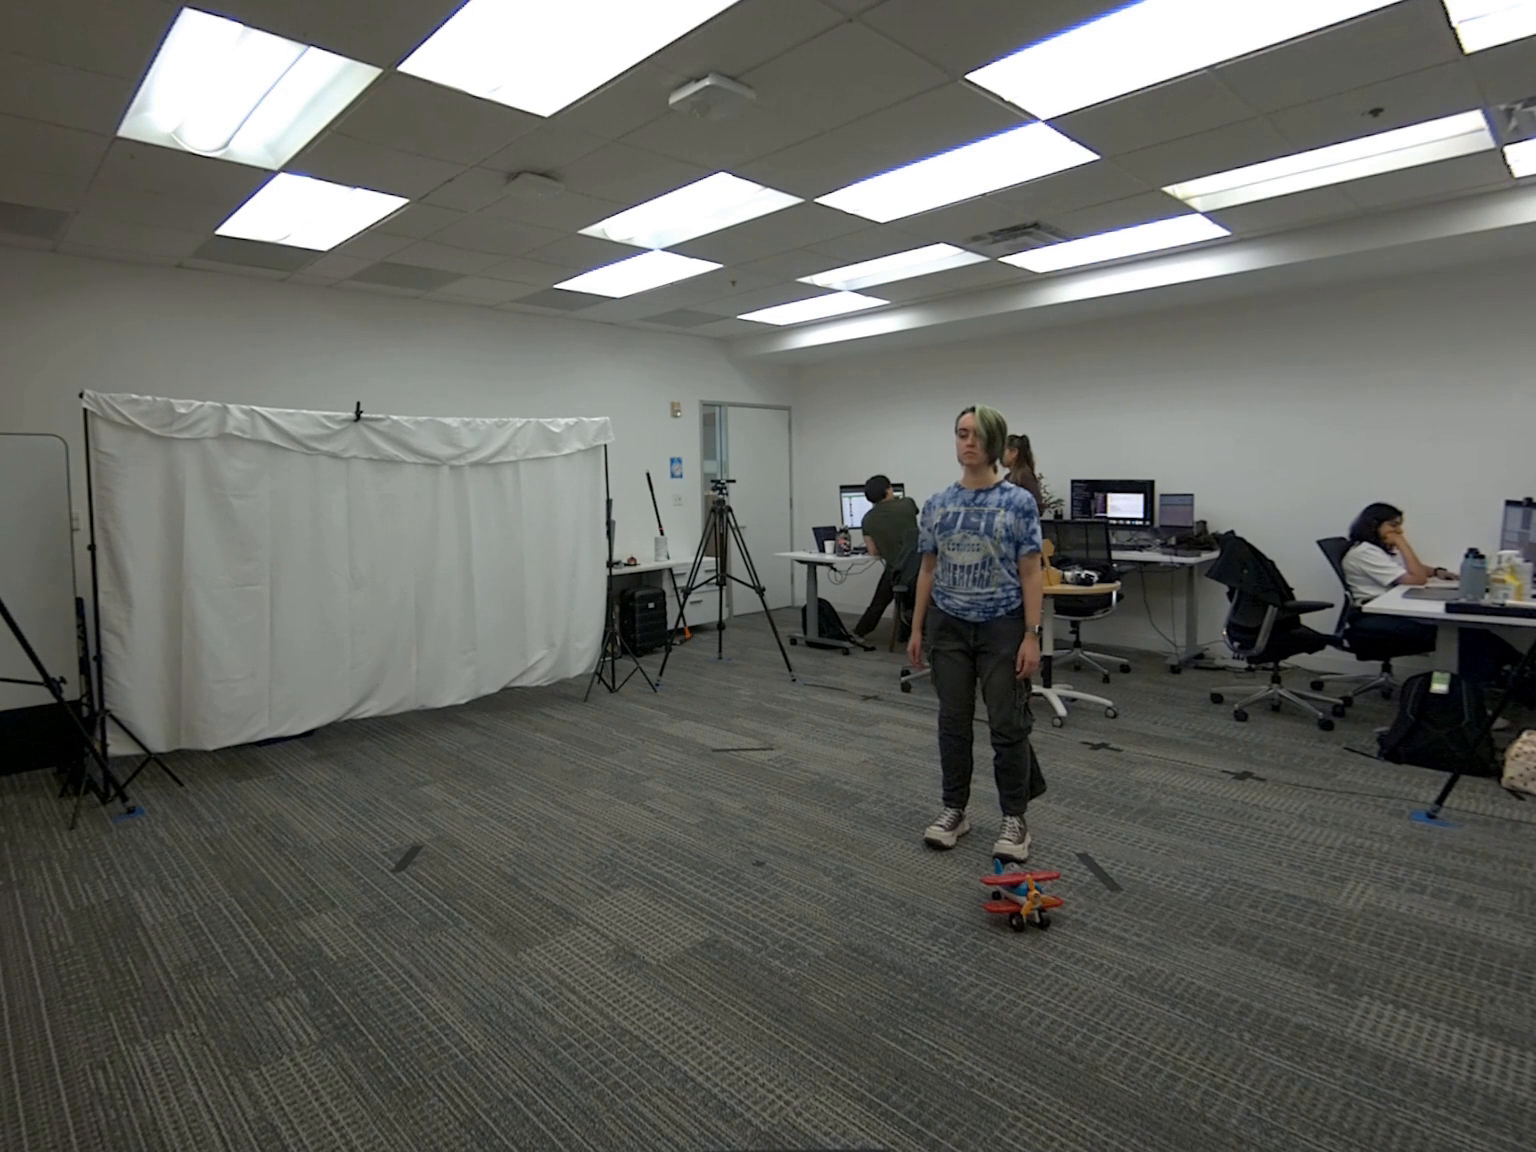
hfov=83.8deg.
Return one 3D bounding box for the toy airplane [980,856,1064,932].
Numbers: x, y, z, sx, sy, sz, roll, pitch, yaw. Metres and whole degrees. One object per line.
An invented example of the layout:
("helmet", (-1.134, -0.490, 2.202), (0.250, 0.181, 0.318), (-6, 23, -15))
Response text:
("toy airplane", (0.771, 1.009, 2.704), (0.244, 0.155, 0.267), (-5, 8, -38))
